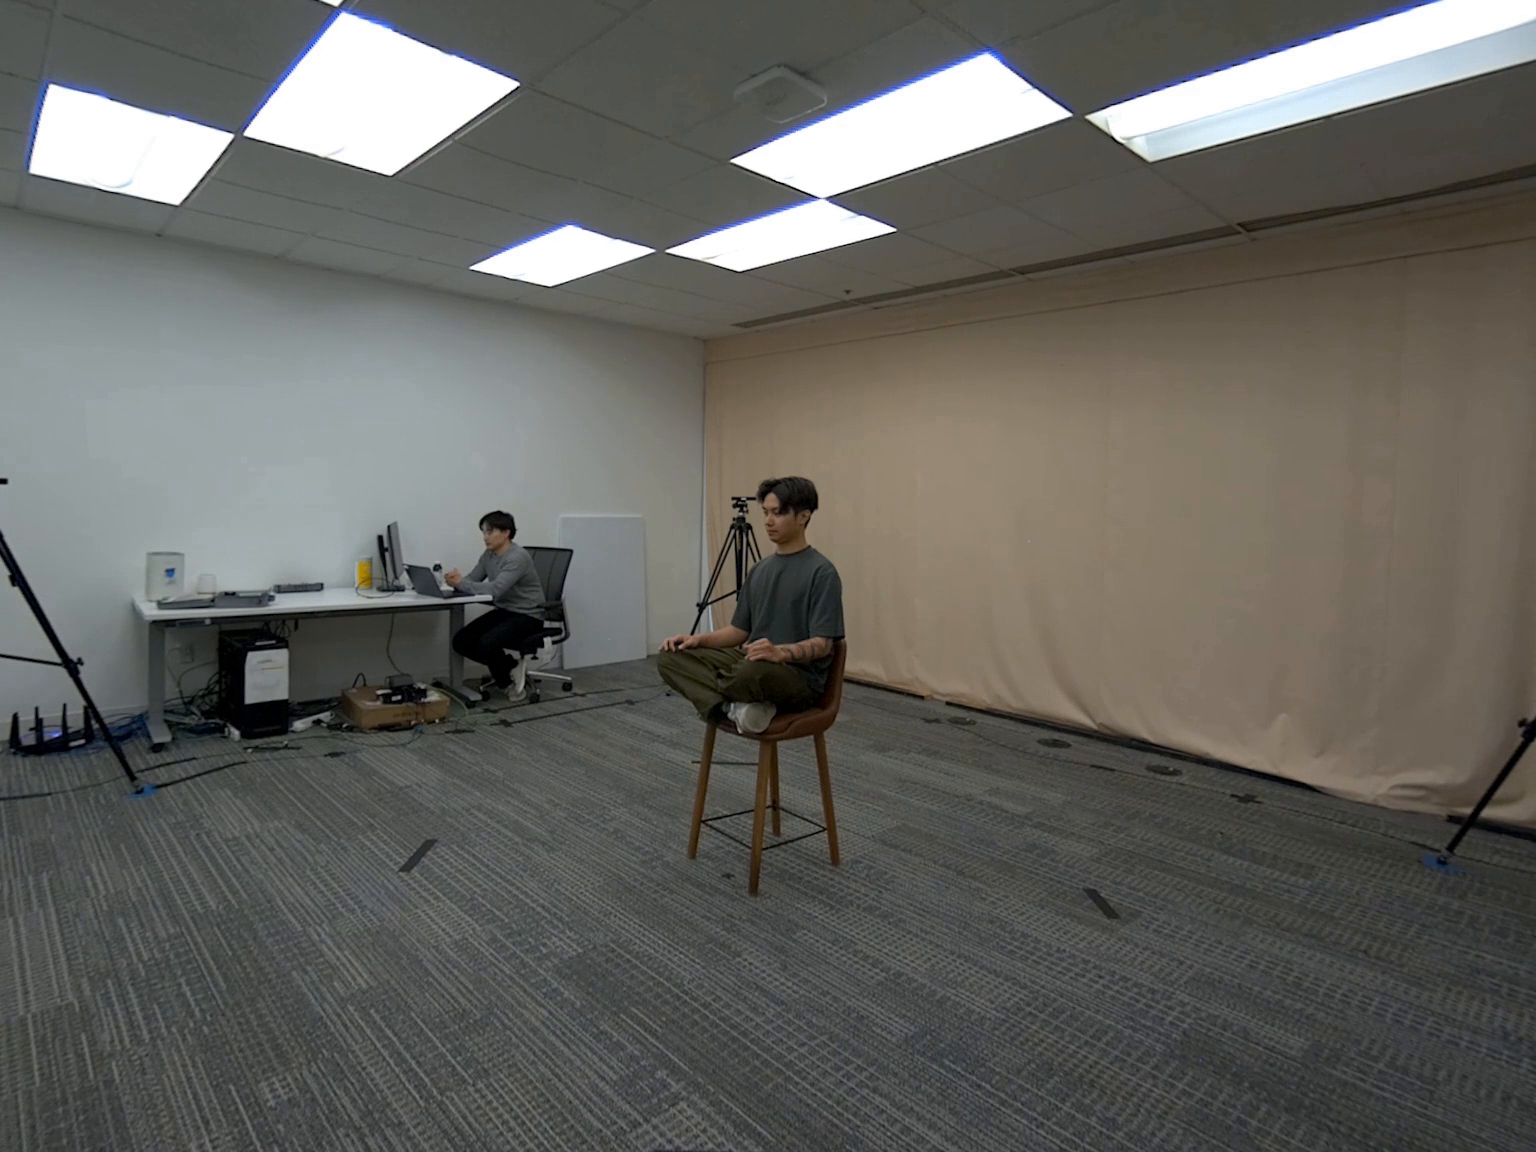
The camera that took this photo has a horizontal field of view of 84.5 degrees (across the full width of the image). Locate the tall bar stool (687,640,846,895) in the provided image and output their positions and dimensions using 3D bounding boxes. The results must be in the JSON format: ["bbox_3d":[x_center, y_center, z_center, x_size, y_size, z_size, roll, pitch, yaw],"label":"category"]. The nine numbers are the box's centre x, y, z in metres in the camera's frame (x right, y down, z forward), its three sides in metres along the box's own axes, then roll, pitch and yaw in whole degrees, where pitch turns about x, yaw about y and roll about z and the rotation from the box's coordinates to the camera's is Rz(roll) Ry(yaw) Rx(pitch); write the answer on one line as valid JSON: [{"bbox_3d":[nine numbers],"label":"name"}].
[{"bbox_3d":[0.002,0.665,3.220,0.456,0.889,0.468,2,2,-39],"label":"tall bar stool"}]
